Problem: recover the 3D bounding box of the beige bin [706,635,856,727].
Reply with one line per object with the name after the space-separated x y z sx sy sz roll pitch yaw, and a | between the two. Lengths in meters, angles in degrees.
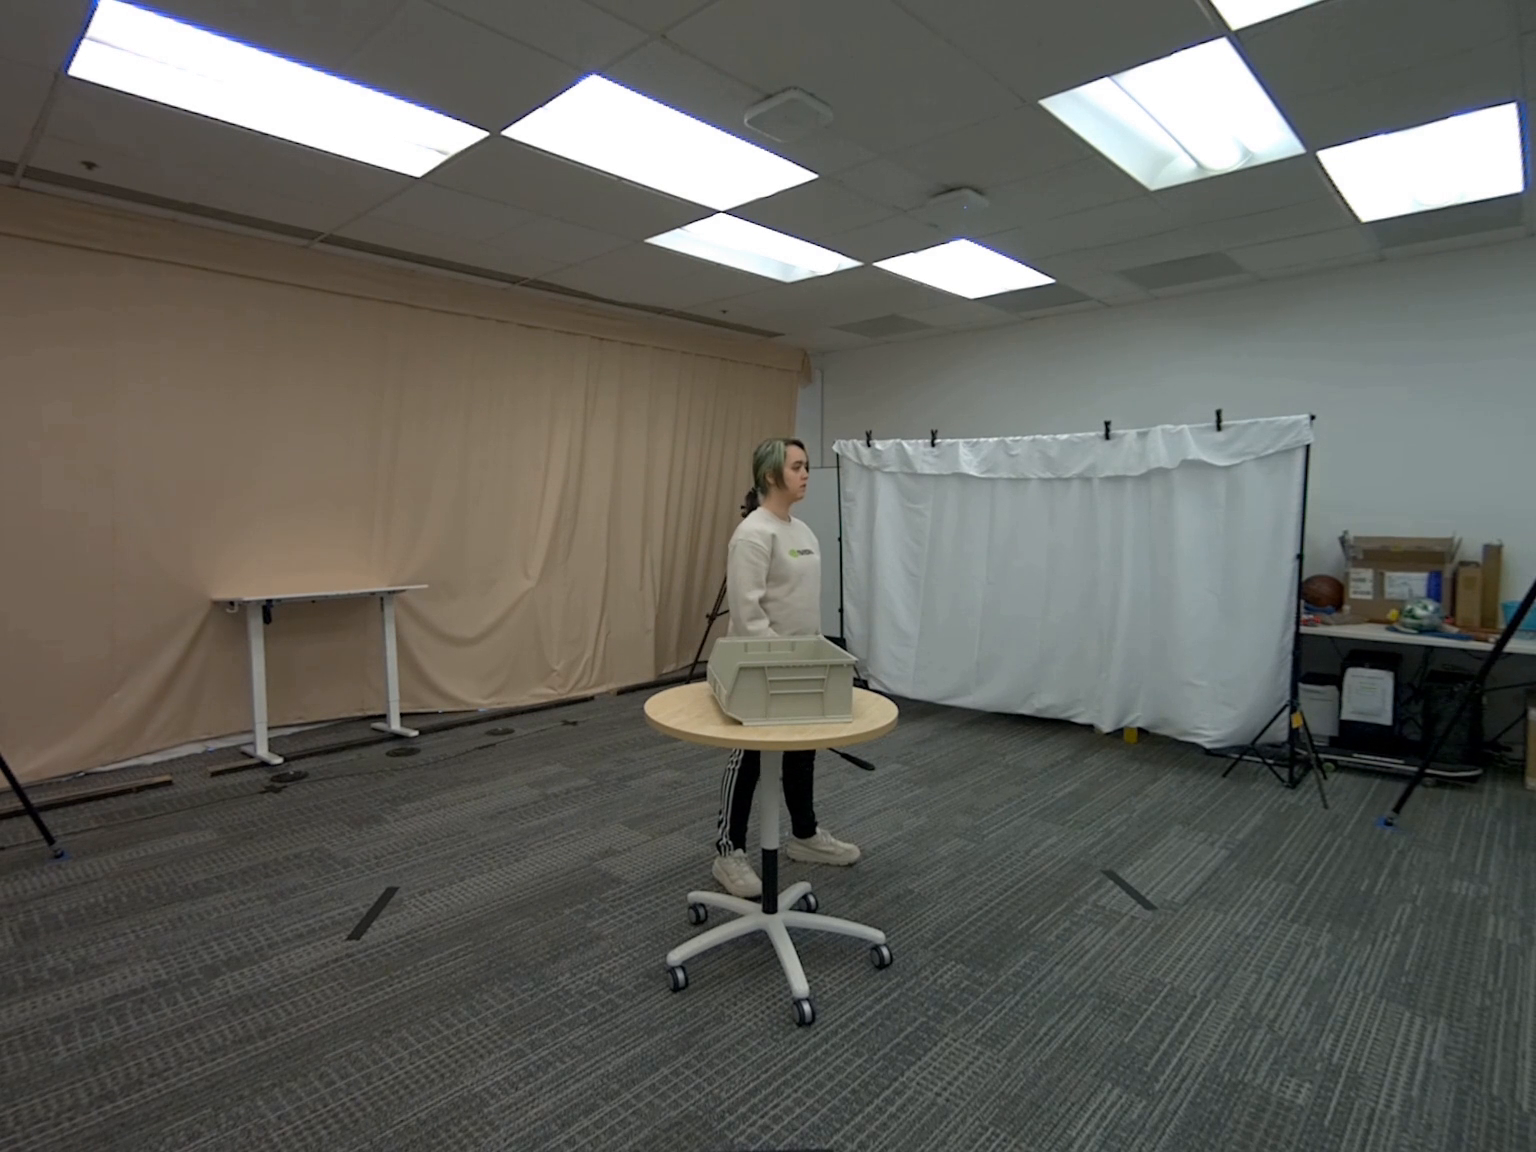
0.022 0.324 2.539 0.375 0.188 0.427 -5 5 -8 | beige bin
